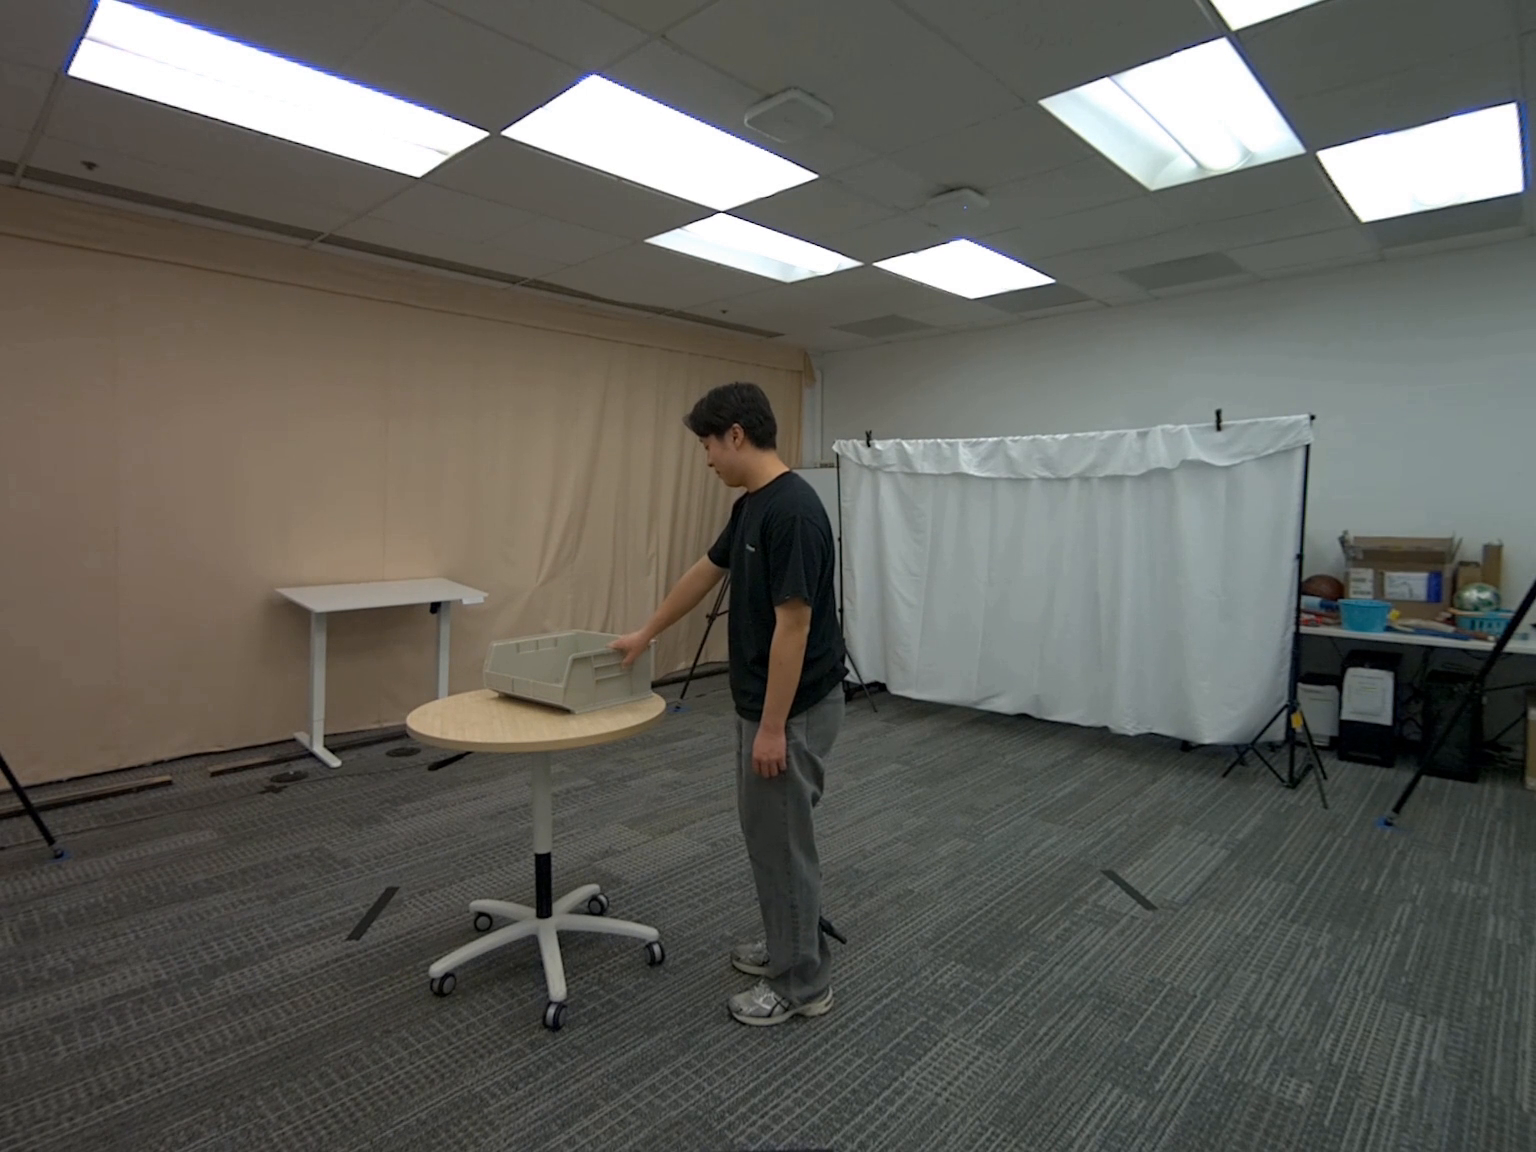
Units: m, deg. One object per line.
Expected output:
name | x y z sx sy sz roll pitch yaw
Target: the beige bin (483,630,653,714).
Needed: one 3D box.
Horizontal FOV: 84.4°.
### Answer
beige bin | -0.632 0.301 2.696 0.436 0.189 0.366 3 4 42
